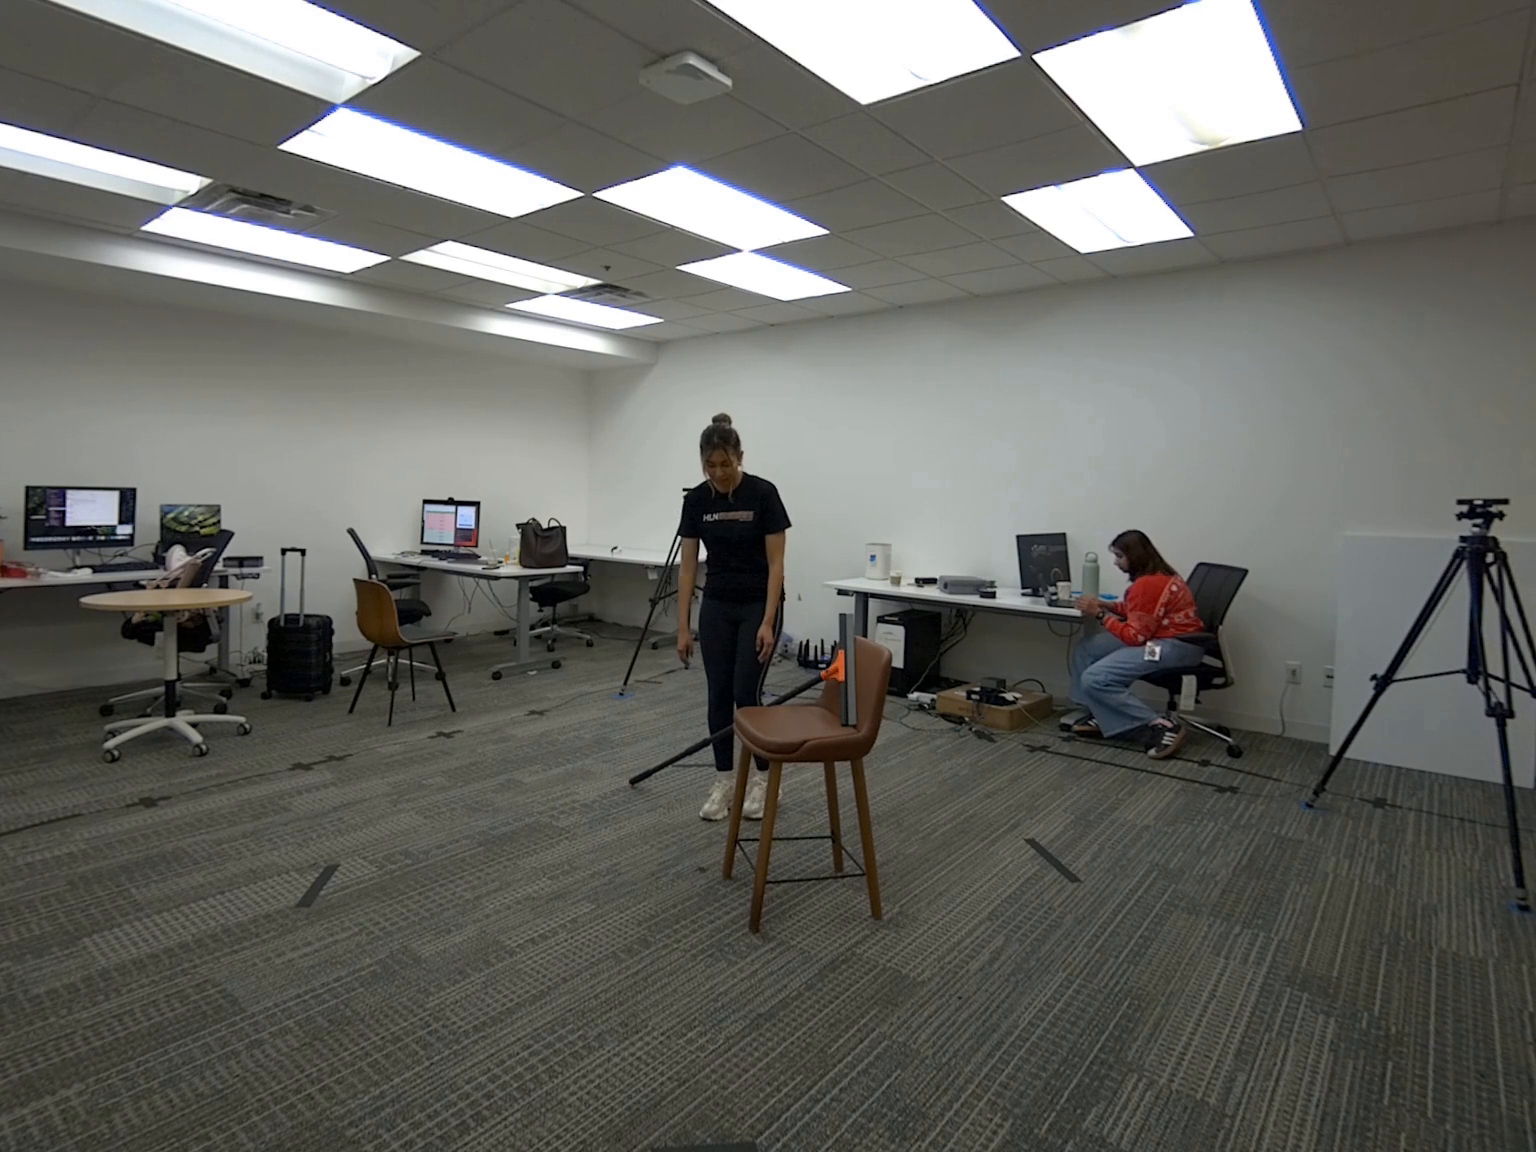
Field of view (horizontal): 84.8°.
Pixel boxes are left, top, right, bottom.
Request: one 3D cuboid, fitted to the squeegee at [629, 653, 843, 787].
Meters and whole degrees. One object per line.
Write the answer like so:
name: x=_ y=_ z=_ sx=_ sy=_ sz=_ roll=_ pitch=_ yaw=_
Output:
squeegee: x=-0.202 y=0.625 z=3.448 sx=0.051 sy=0.449 sz=1.549 roll=21 pitch=-38 yaw=-32
